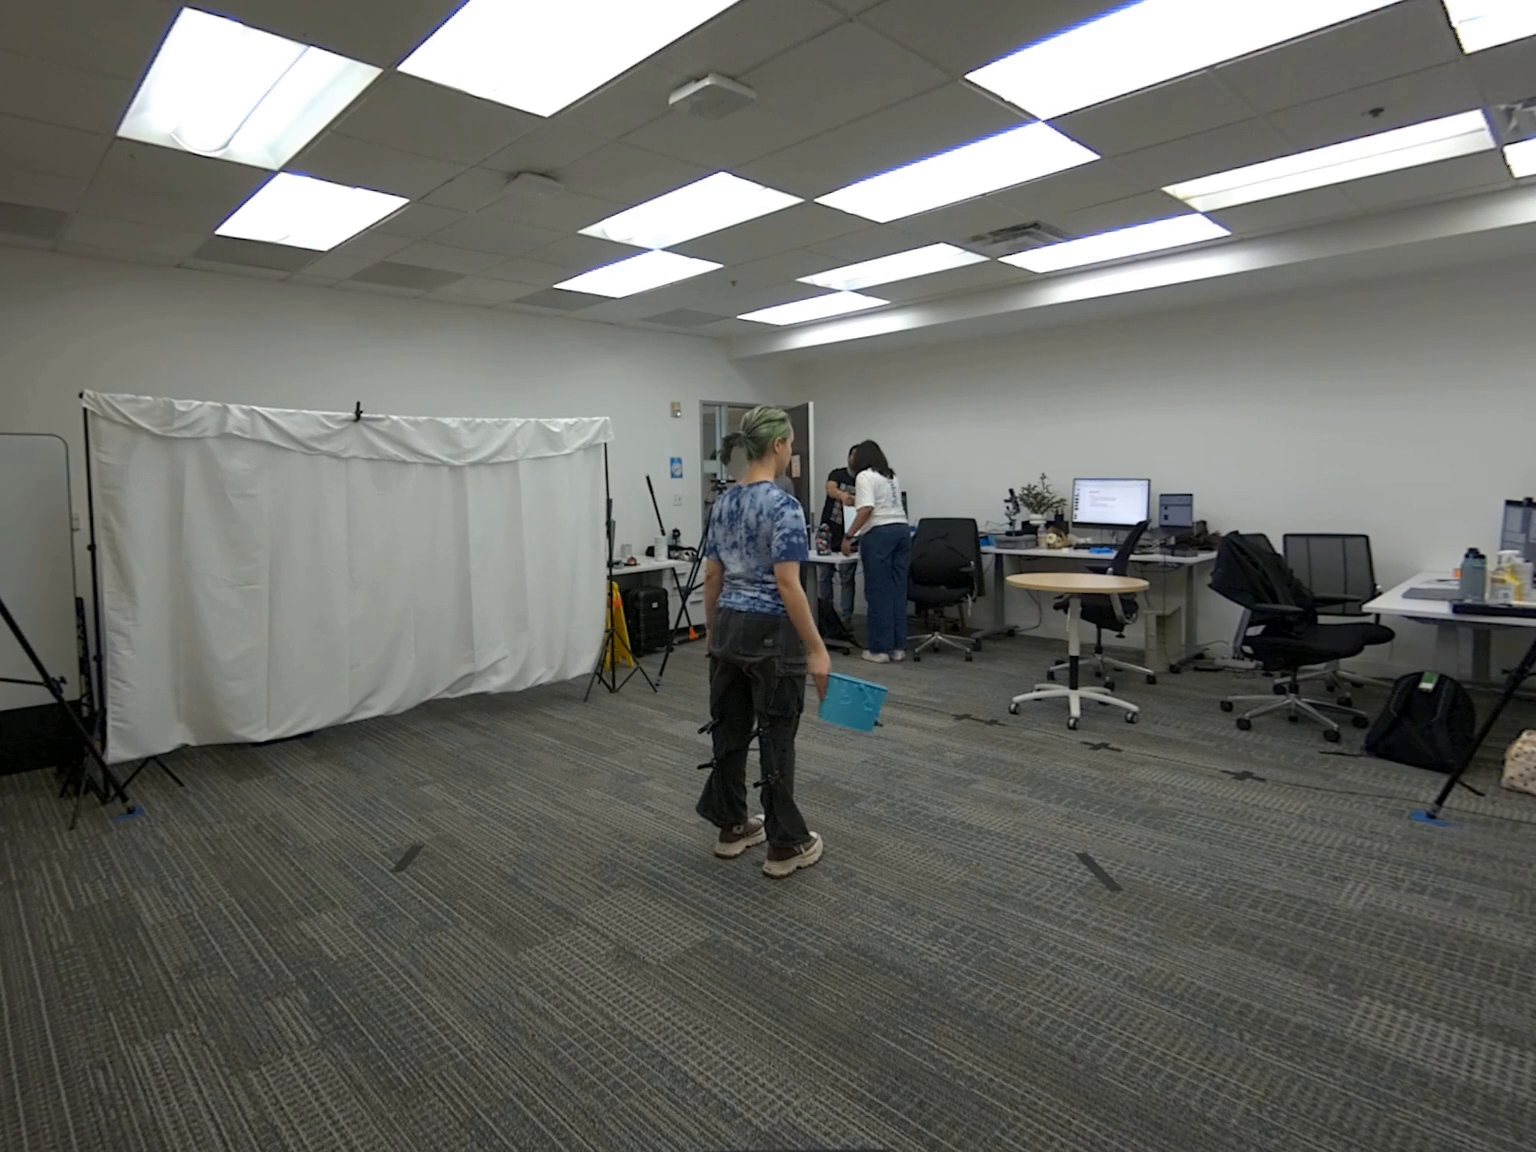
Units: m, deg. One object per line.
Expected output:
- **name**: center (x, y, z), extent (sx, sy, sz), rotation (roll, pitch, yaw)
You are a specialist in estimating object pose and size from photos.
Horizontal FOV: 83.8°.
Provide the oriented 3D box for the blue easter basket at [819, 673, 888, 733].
- **blue easter basket**: center (0.281, 0.407, 2.826), extent (0.244, 0.156, 0.243), rotation (13, -3, -1)
